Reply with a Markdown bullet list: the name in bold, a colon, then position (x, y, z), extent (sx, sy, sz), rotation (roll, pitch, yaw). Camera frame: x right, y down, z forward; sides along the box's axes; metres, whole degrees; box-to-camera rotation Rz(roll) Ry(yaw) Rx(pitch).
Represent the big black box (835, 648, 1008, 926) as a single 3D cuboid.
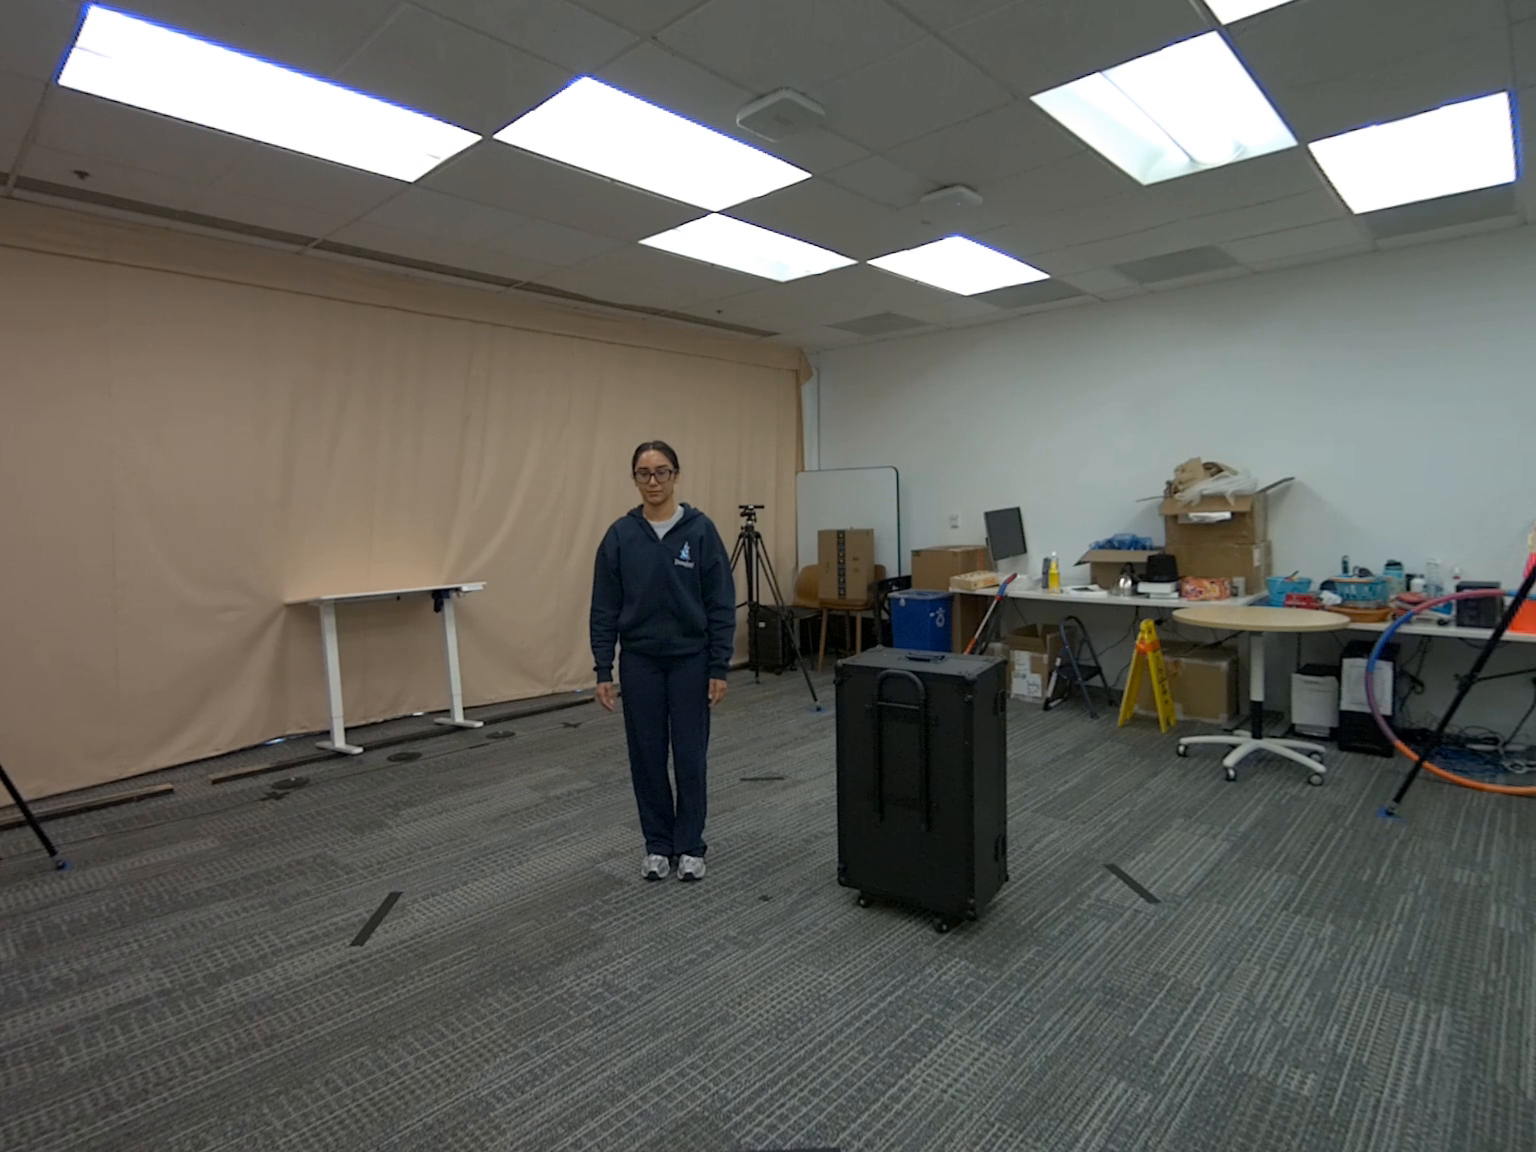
- **big black box**: position (0.537, 0.714, 2.887), extent (0.537, 0.859, 0.385), rotation (2, 5, 34)
